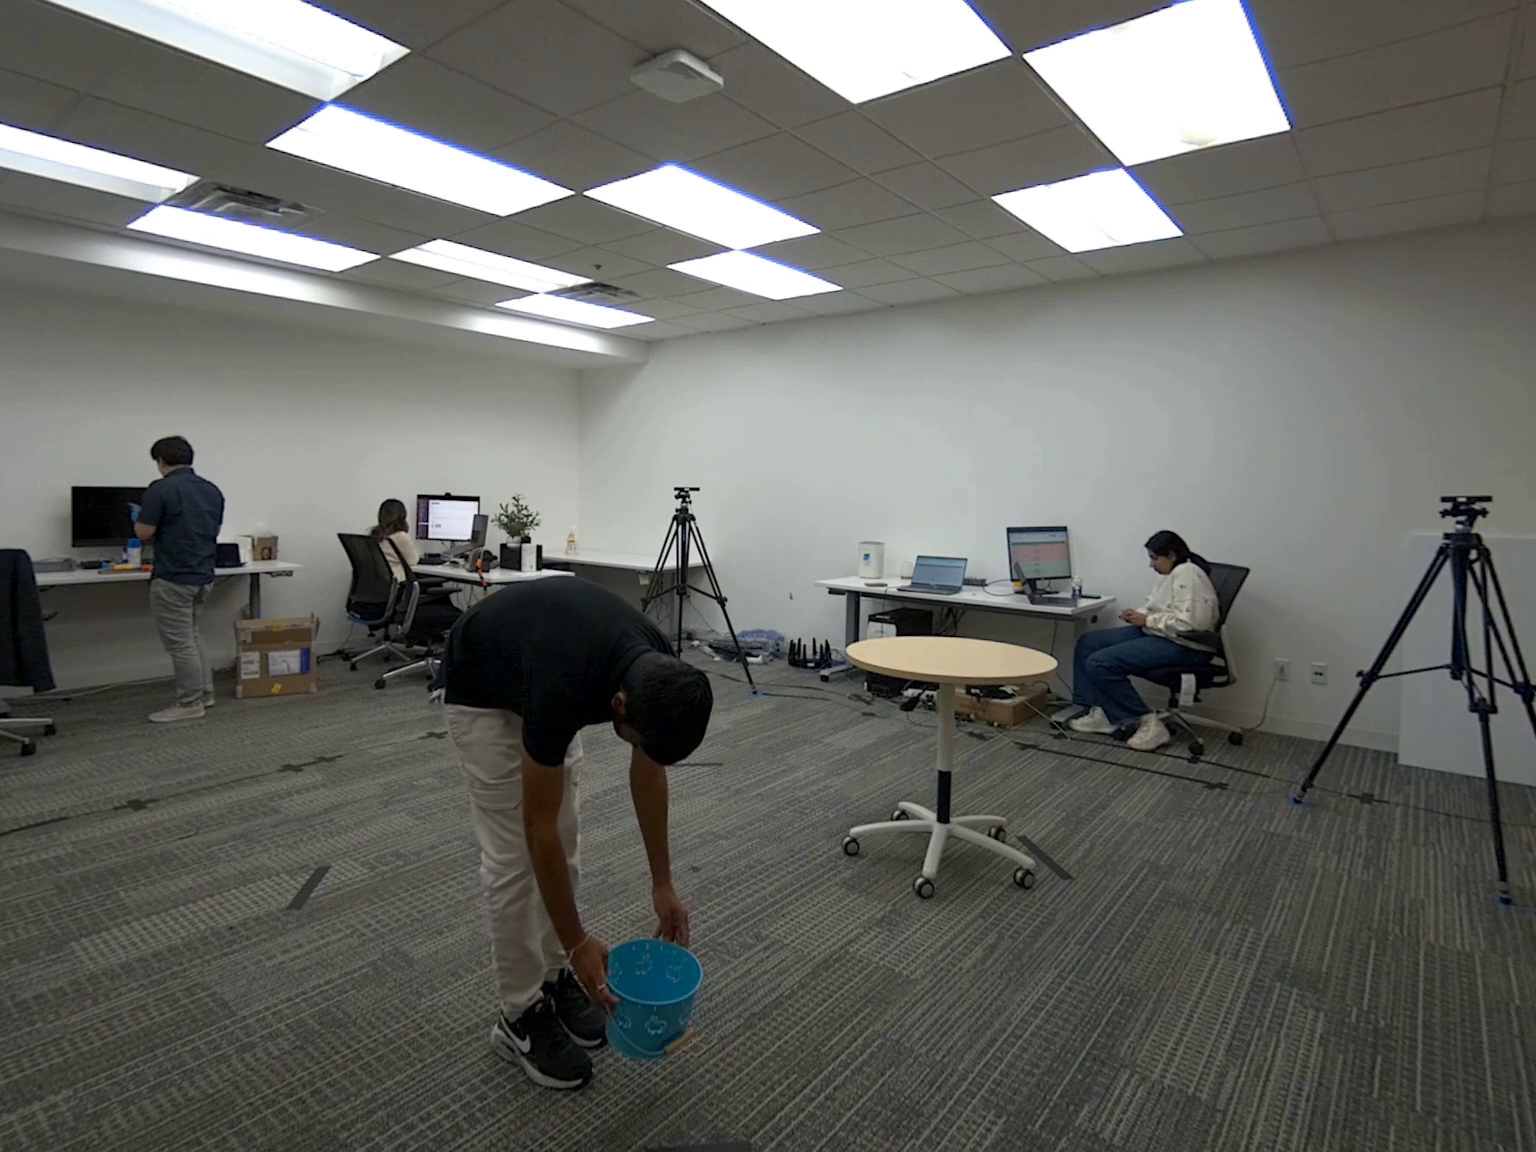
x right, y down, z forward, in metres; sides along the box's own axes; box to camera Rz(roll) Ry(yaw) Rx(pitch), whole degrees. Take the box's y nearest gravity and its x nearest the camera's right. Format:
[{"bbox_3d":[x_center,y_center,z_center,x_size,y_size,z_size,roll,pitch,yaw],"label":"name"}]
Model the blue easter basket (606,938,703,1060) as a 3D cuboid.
[{"bbox_3d":[-0.278,0.957,1.906,0.243,0.155,0.246,3,8,-2],"label":"blue easter basket"}]
